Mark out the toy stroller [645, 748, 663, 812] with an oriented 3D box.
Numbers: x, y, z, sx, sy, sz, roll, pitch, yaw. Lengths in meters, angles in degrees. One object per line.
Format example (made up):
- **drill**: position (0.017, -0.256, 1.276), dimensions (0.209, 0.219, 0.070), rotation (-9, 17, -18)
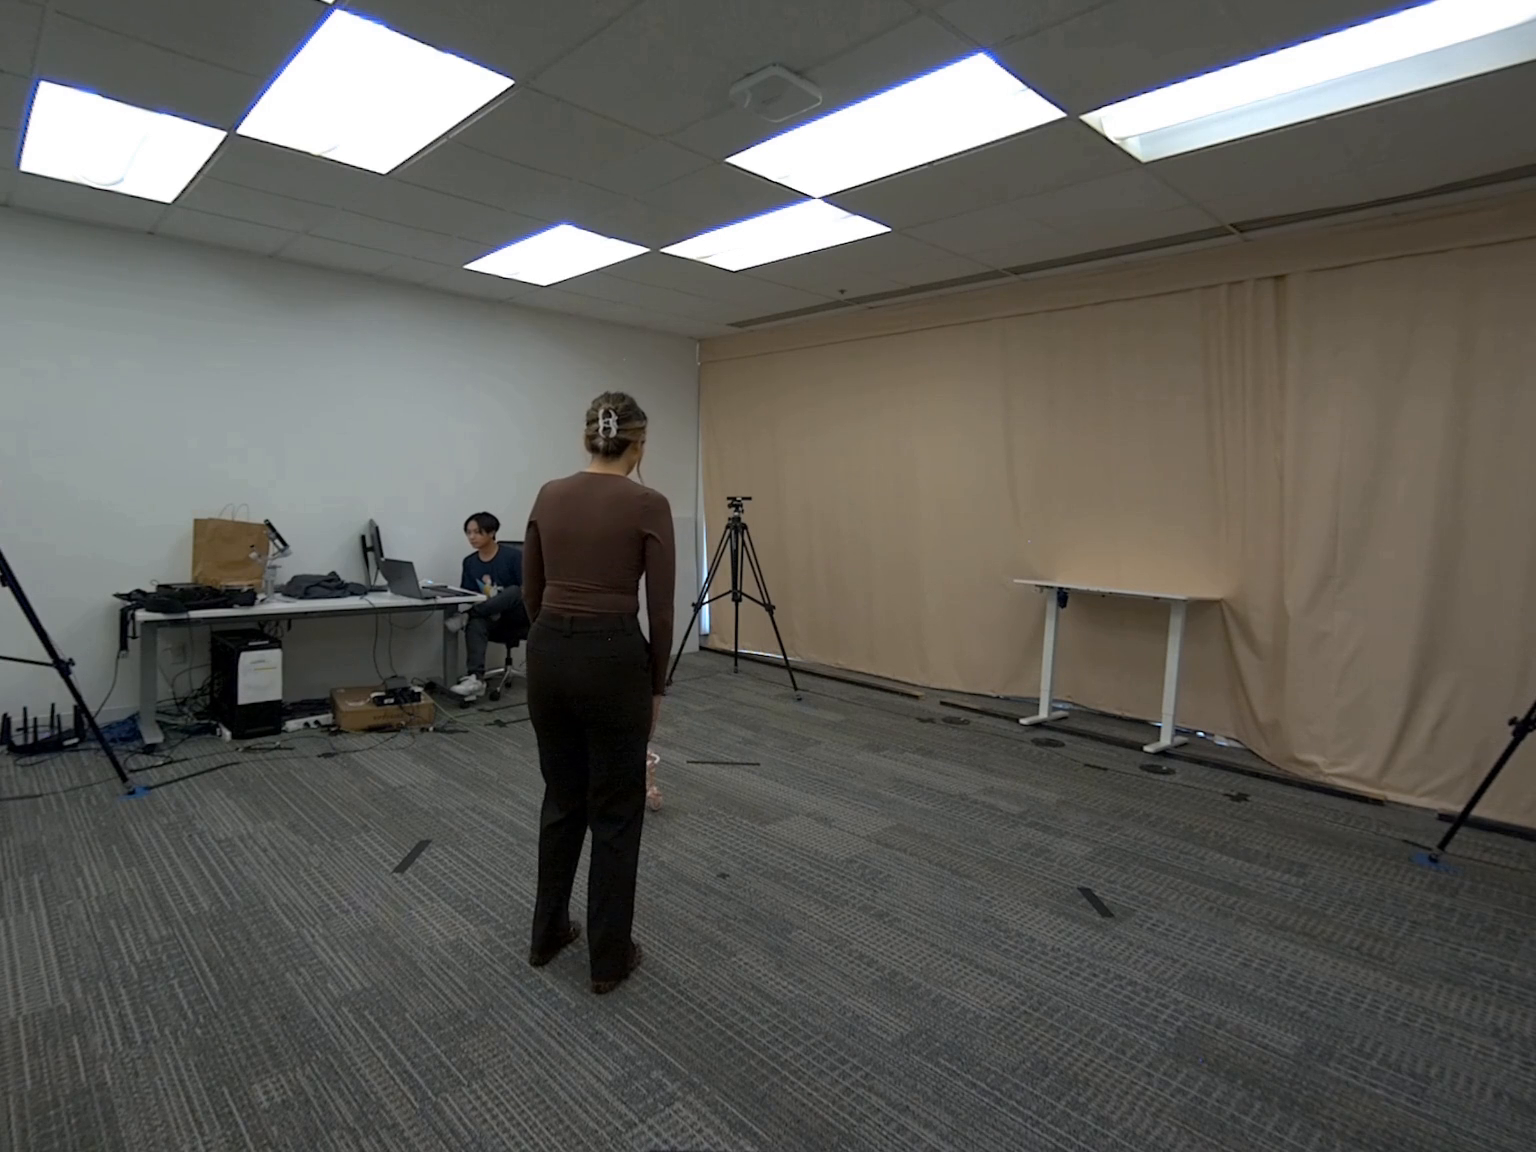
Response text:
- **toy stroller**: position (-0.628, 0.831, 3.604), dimensions (0.337, 0.528, 0.289), rotation (-22, 19, -38)
